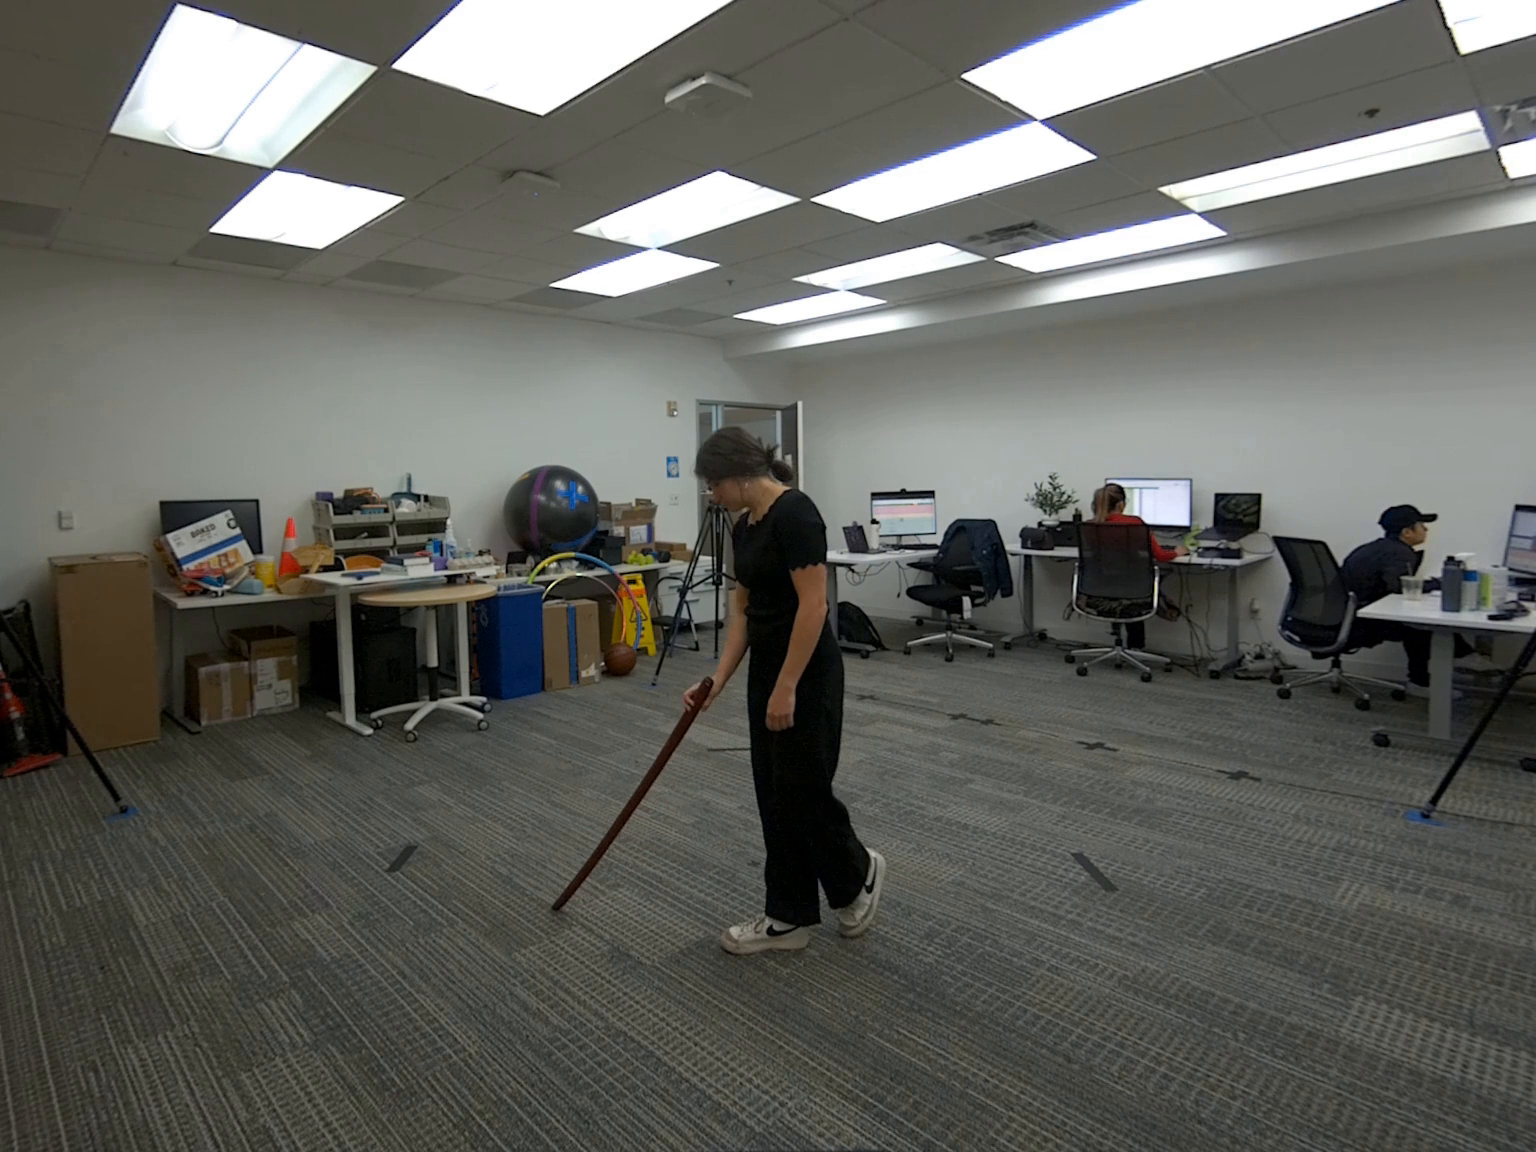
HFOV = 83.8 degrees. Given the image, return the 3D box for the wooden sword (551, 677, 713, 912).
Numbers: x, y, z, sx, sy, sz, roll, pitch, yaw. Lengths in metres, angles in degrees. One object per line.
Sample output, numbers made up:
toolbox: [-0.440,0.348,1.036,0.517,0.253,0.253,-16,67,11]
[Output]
wooden sword: [-0.426,0.714,2.624,0.053,1.021,0.023,46,22,29]
